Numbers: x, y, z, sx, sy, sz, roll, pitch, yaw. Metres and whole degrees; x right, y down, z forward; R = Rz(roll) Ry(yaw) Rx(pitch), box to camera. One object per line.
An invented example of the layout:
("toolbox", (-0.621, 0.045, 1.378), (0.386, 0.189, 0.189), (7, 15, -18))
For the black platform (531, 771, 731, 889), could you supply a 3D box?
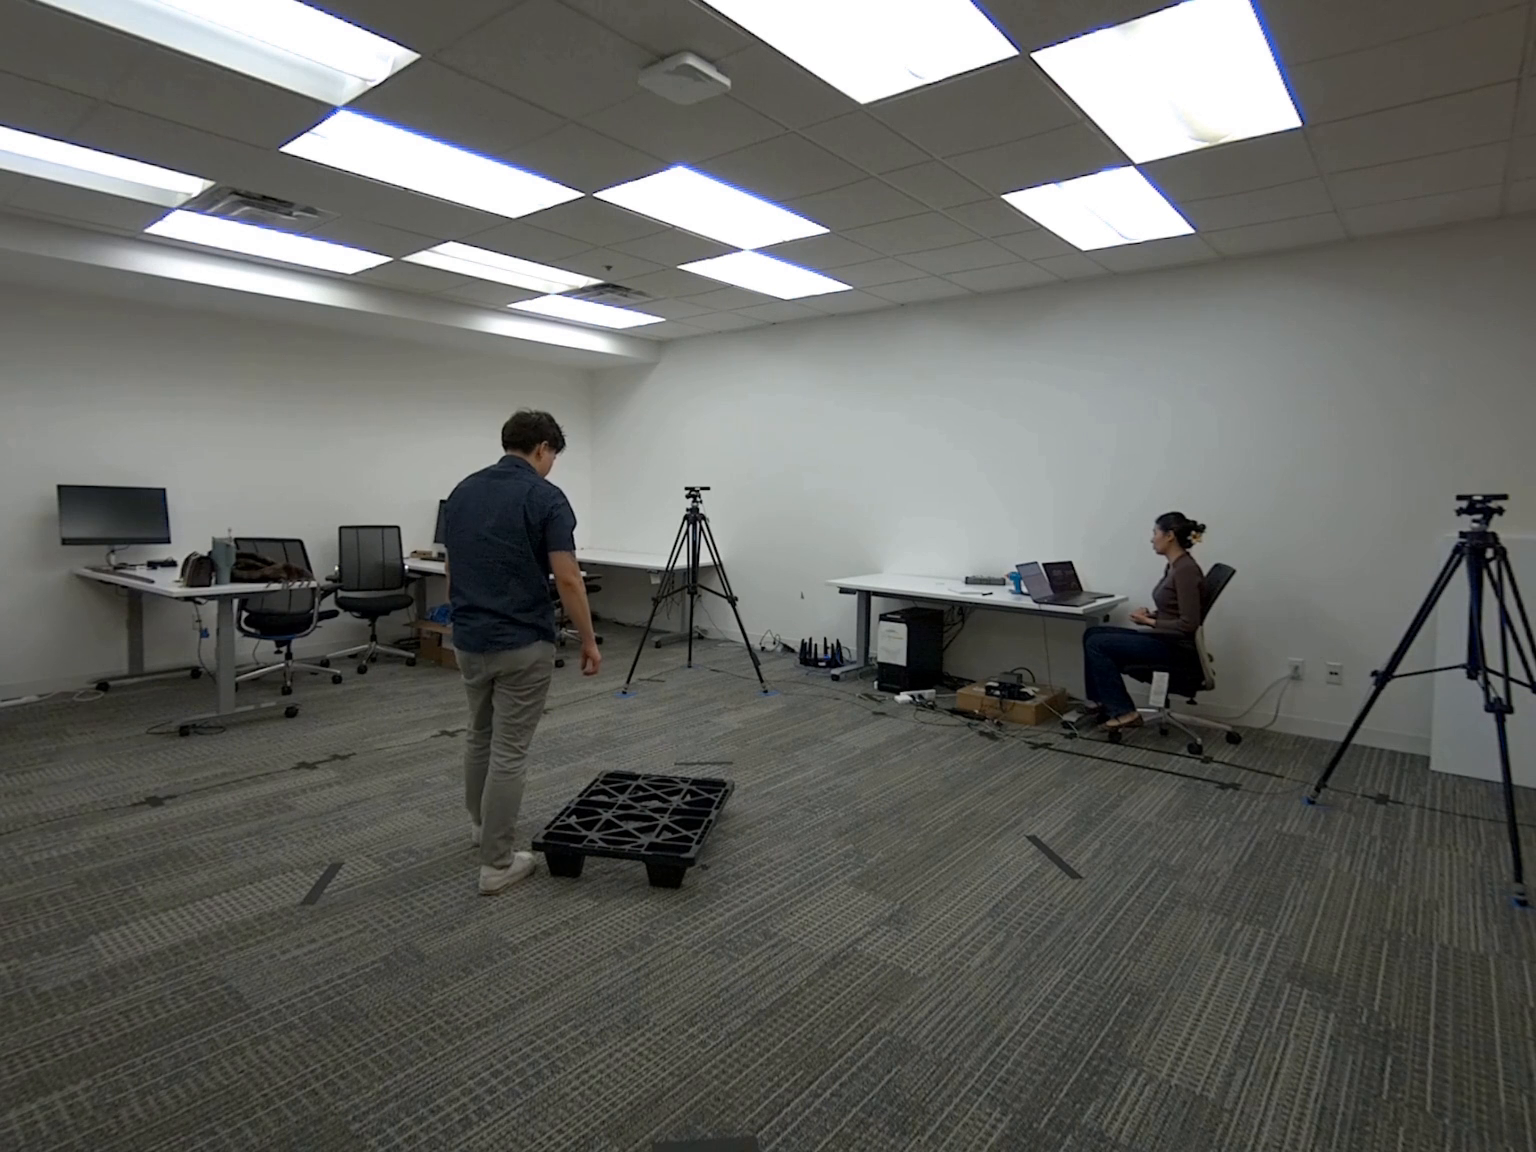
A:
("black platform", (-0.502, 0.971, 3.334), (0.612, 0.143, 0.800), (1, 5, 9))
